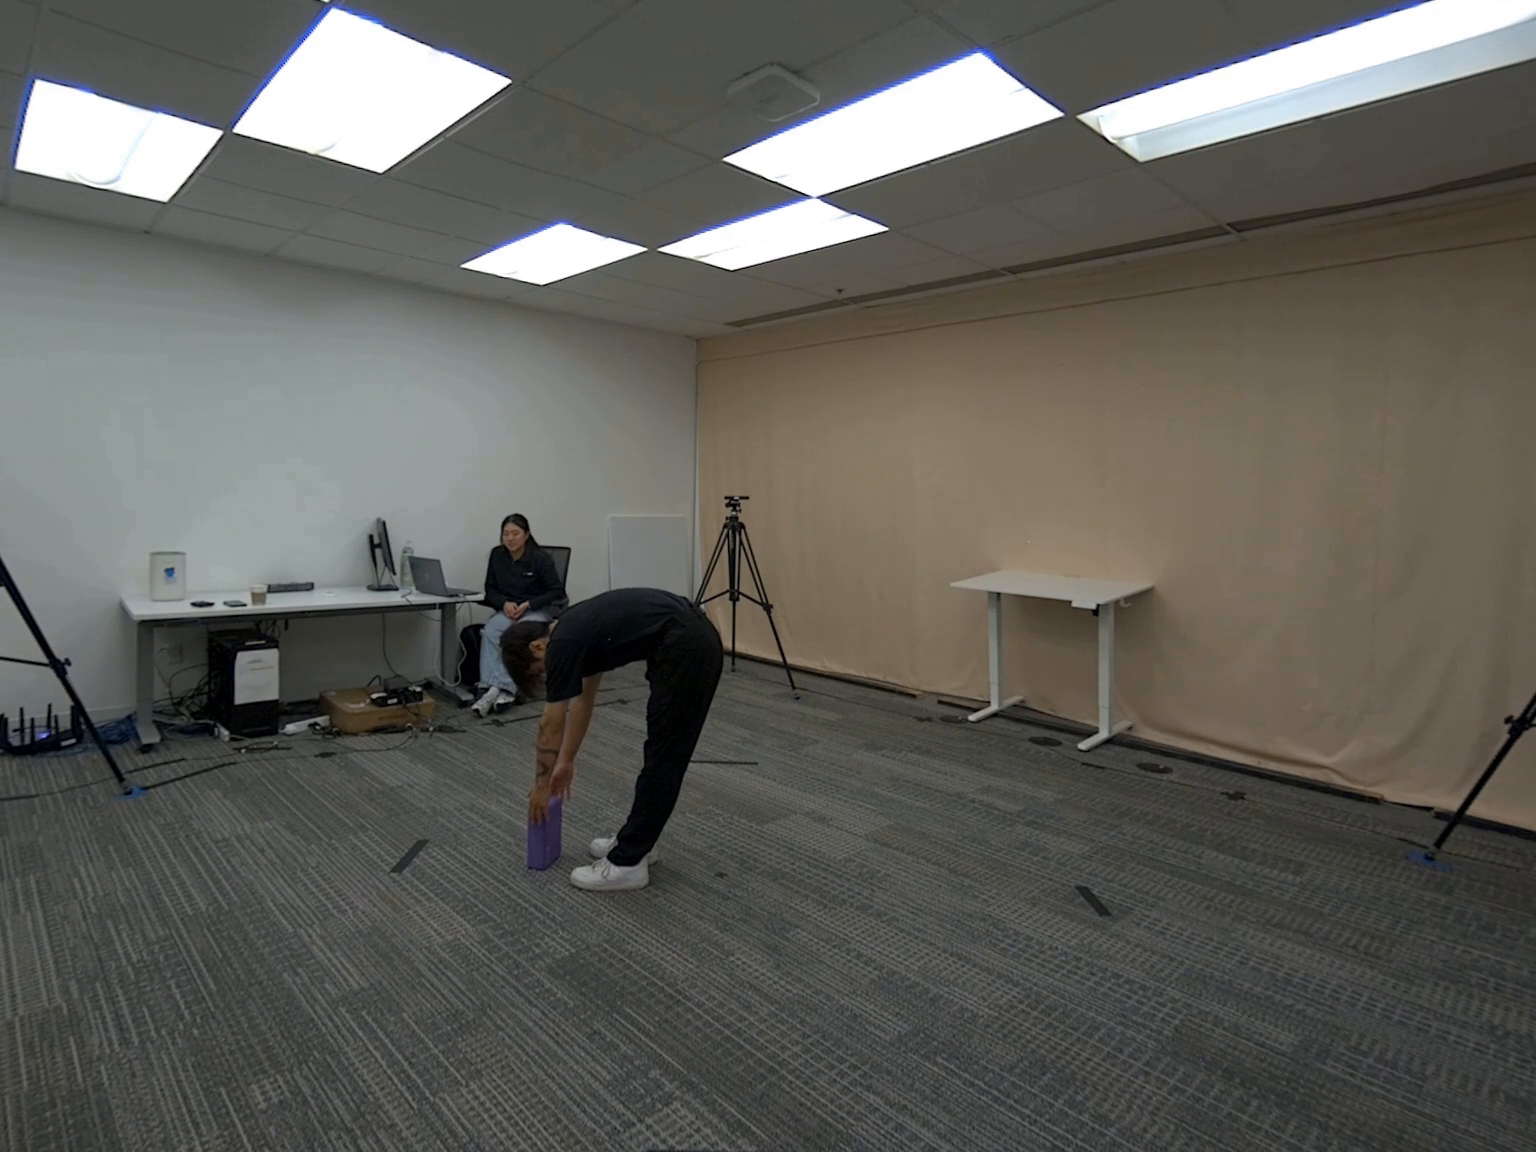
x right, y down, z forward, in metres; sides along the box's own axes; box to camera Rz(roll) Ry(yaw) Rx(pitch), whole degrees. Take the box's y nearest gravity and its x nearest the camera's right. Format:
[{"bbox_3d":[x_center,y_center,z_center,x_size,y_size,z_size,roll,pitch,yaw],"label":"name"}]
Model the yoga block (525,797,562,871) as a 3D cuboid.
[{"bbox_3d":[-0.839,0.960,3.175,0.077,0.229,0.148,0,1,11],"label":"yoga block"}]
